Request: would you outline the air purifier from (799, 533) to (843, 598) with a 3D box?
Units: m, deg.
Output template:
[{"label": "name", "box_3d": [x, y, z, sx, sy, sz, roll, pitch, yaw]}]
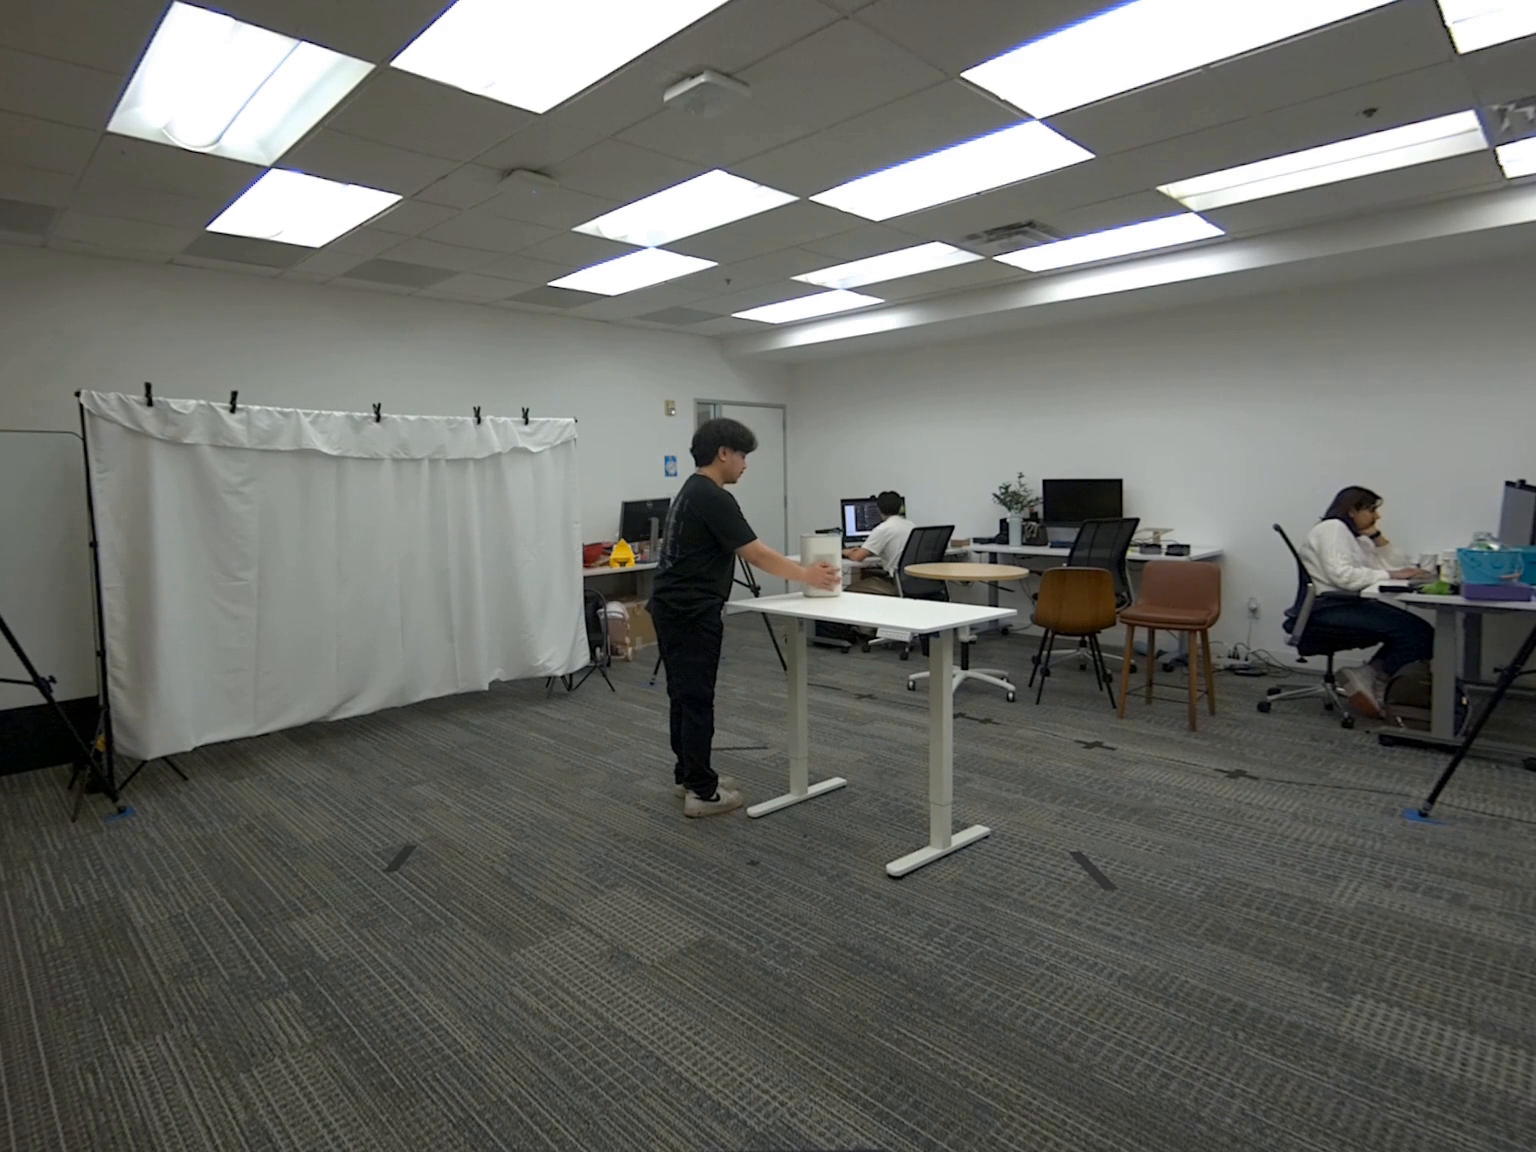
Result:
[{"label": "air purifier", "box_3d": [0.227, -0.045, 3.725, 0.170, 0.264, 0.173, -2, 4, -7]}]
